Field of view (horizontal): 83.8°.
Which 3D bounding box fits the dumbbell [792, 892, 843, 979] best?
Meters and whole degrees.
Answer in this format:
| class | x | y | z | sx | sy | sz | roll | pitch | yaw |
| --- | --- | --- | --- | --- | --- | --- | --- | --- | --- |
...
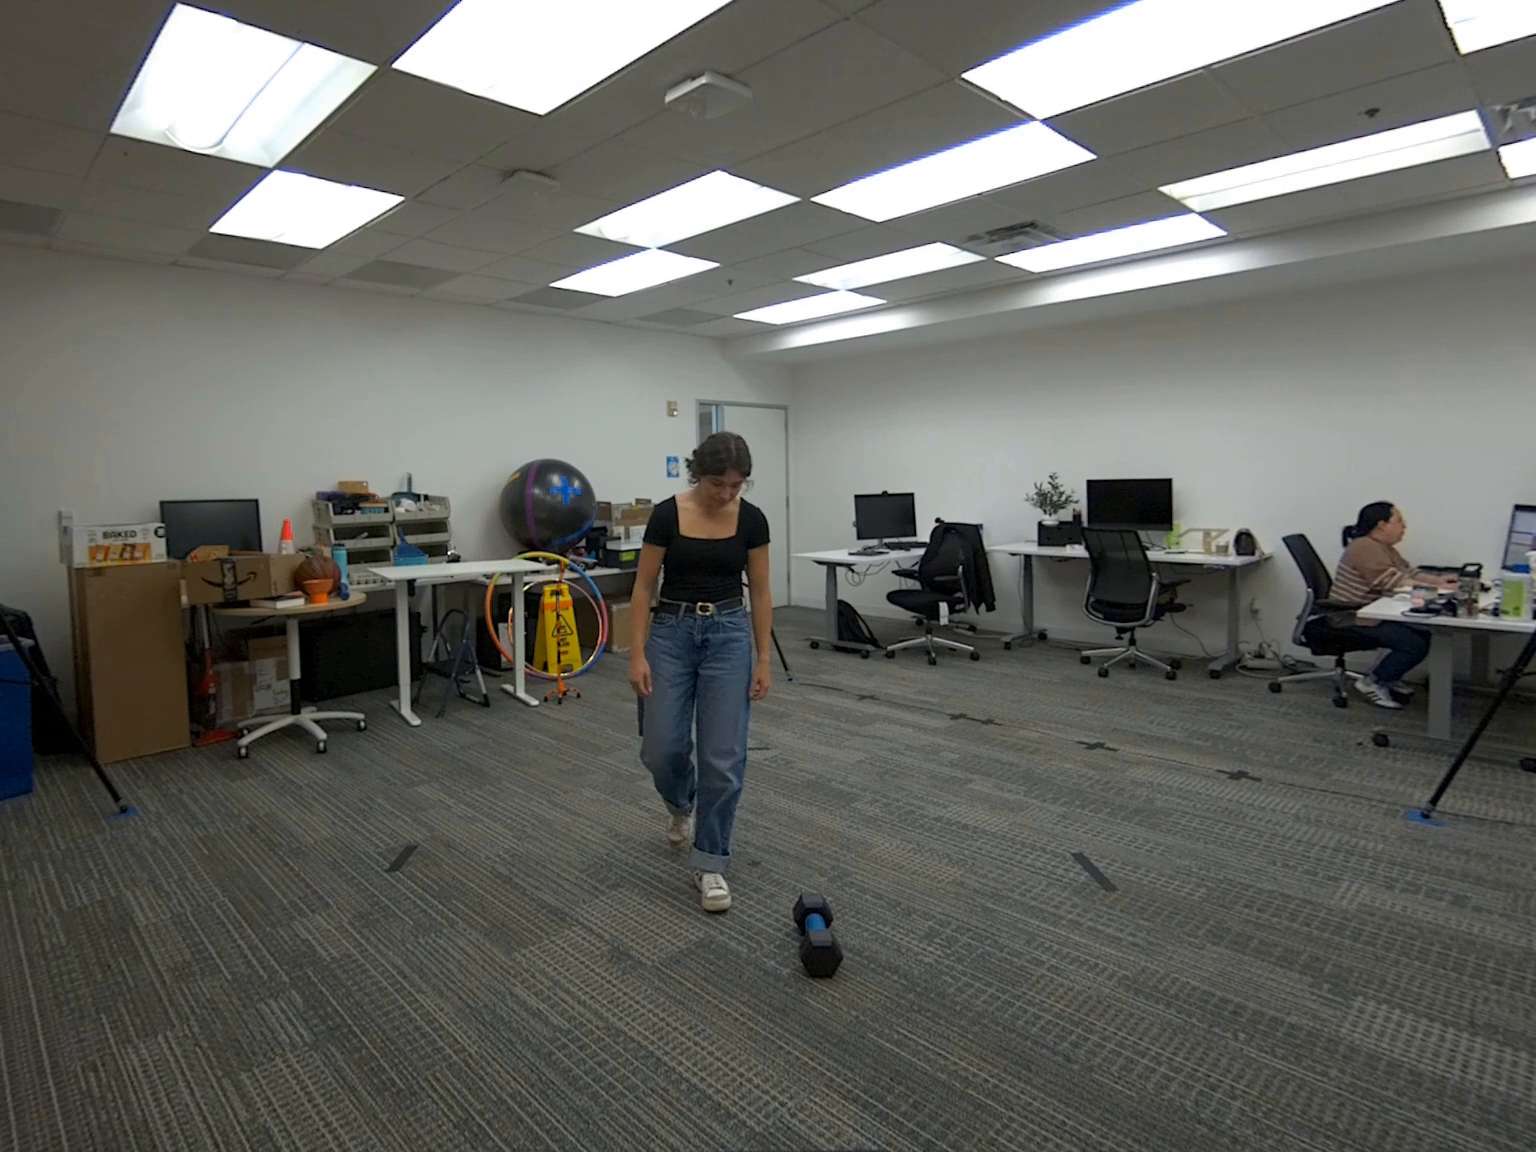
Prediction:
| class | x | y | z | sx | sy | sz | roll | pitch | yaw |
| --- | --- | --- | --- | --- | --- | --- | --- | --- | --- |
| dumbbell | 0.150 | 1.056 | 2.522 | 0.109 | 0.122 | 0.295 | -32 | 7 | 1 |
